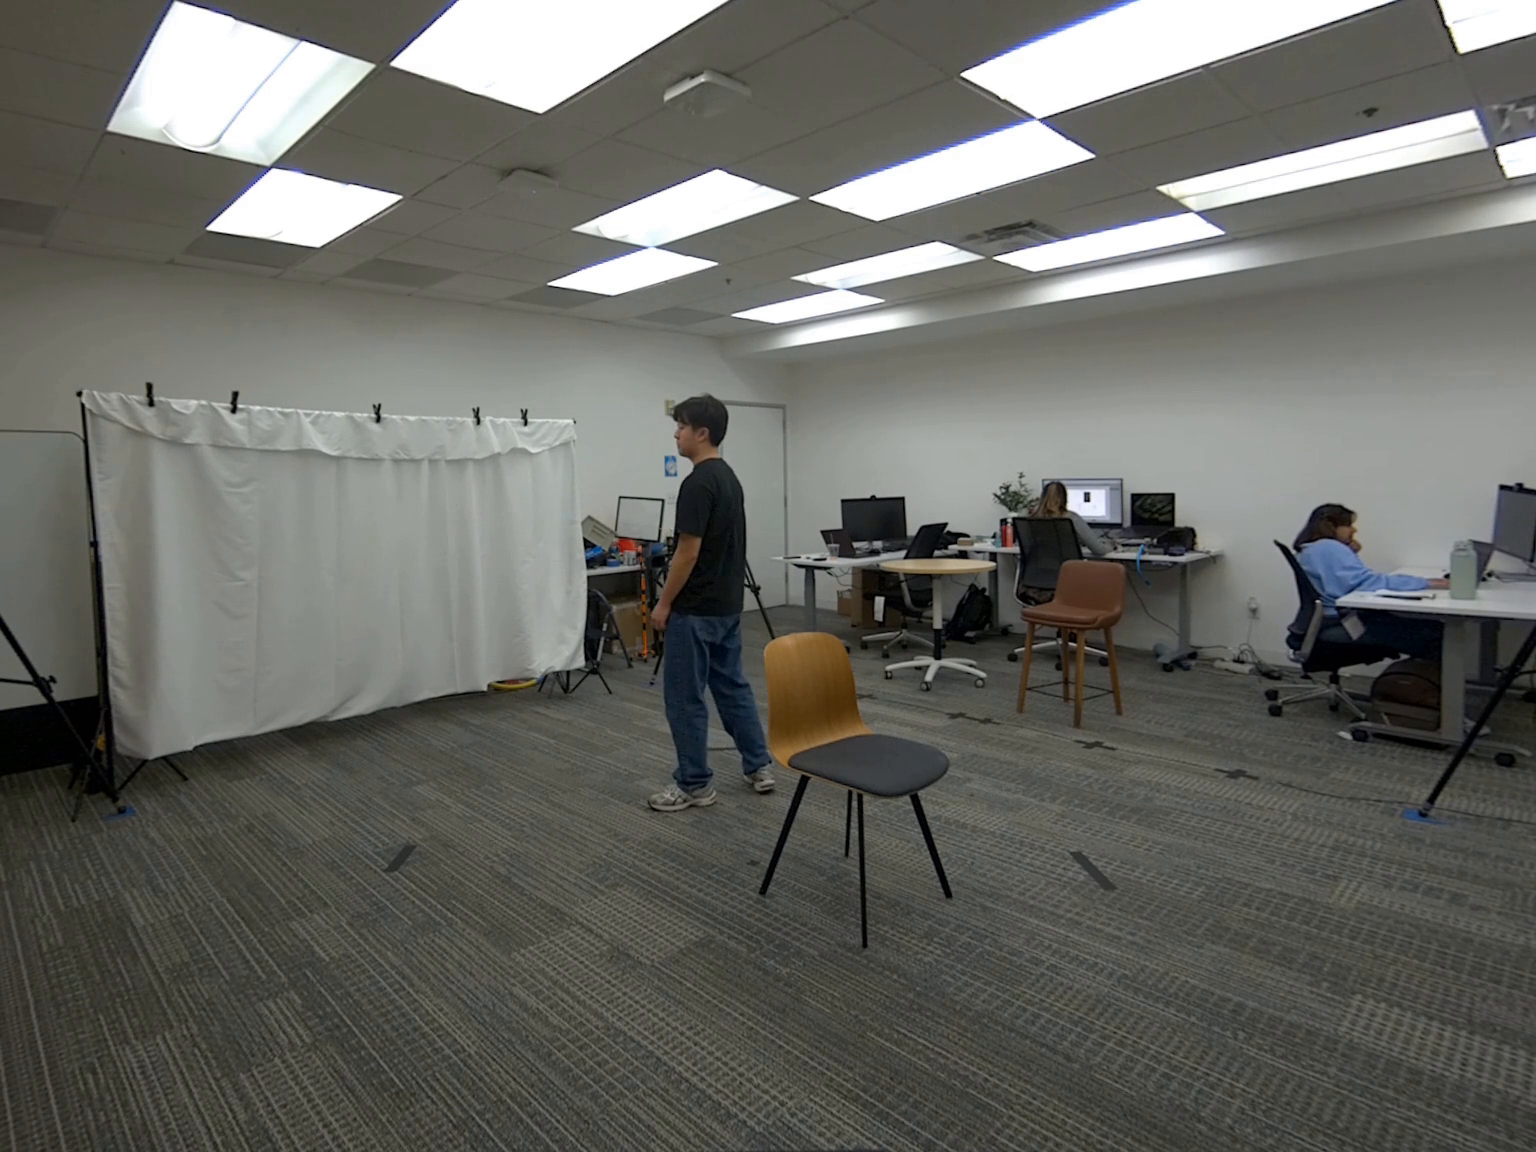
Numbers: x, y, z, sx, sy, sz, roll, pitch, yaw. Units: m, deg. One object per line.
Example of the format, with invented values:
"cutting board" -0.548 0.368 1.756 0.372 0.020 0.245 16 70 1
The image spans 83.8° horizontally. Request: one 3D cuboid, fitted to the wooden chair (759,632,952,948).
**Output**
"wooden chair" 0.291 0.642 2.805 0.465 0.877 0.537 -4 1 -43
